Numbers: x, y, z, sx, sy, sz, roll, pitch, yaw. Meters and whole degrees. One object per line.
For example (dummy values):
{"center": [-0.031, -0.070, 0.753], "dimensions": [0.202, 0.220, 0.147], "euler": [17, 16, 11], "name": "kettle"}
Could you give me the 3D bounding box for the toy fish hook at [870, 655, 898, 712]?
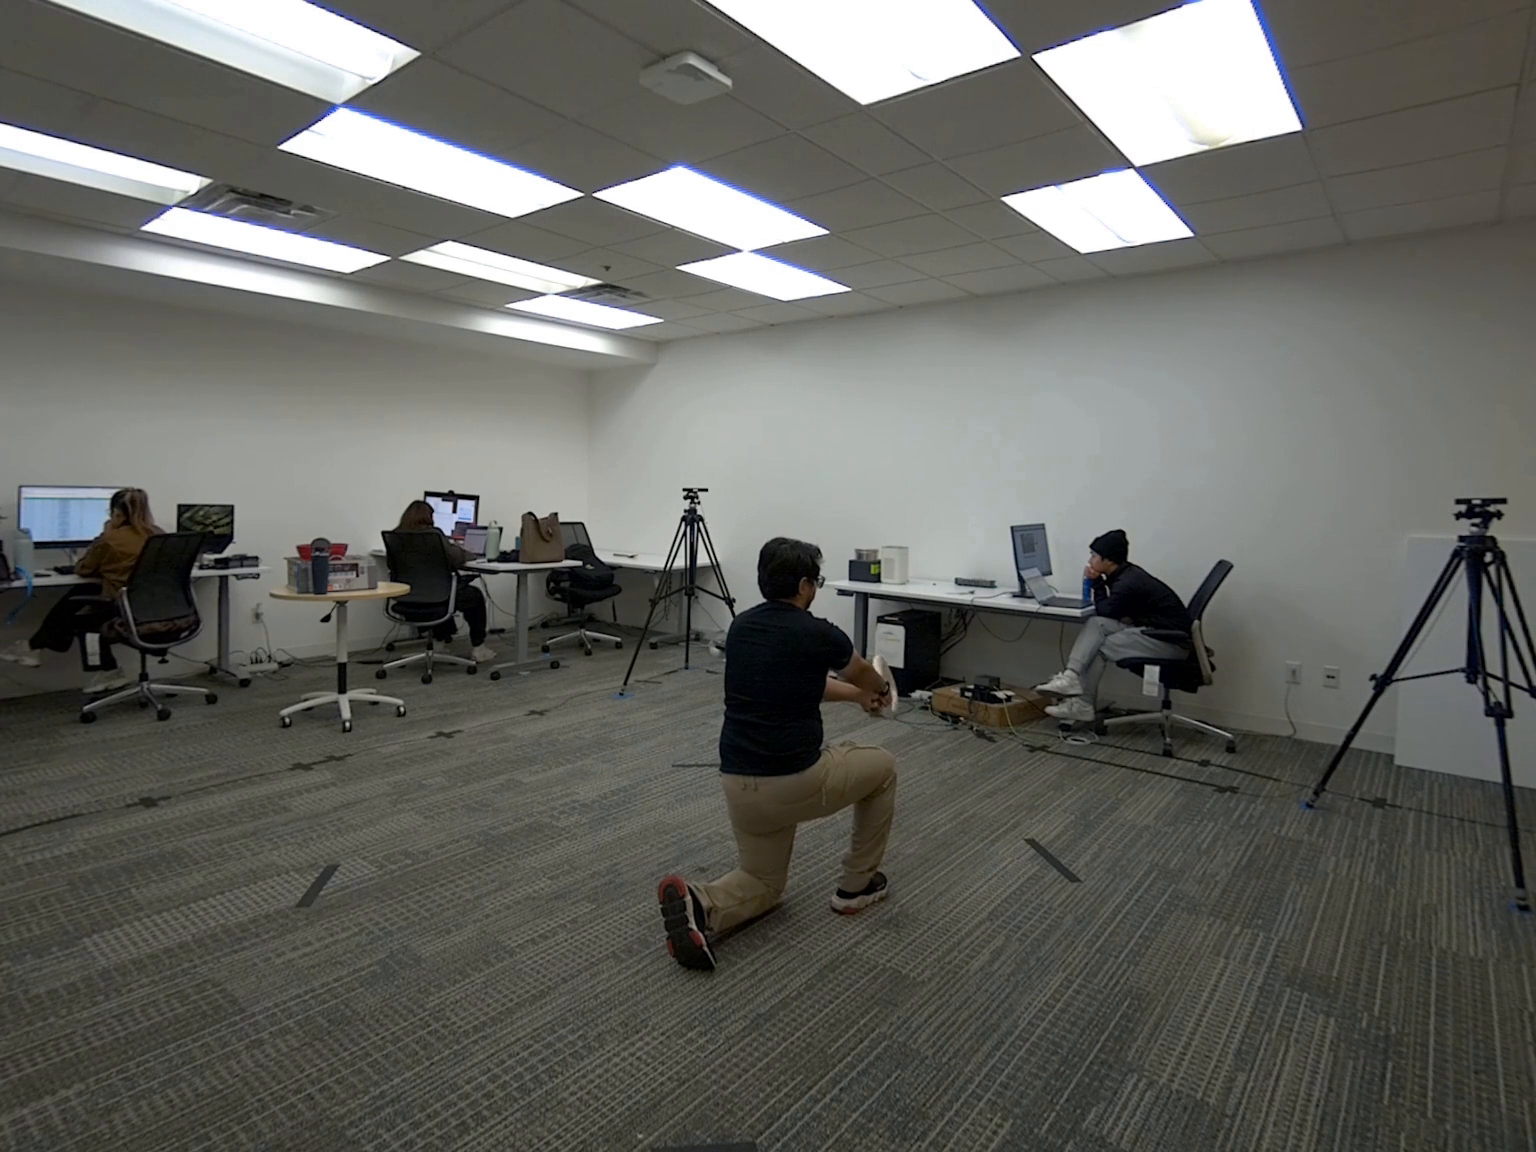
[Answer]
{"center": [0.464, 0.462, 3.355], "dimensions": [0.049, 0.223, 0.507], "euler": [-29, 8, 18], "name": "toy fish hook"}
